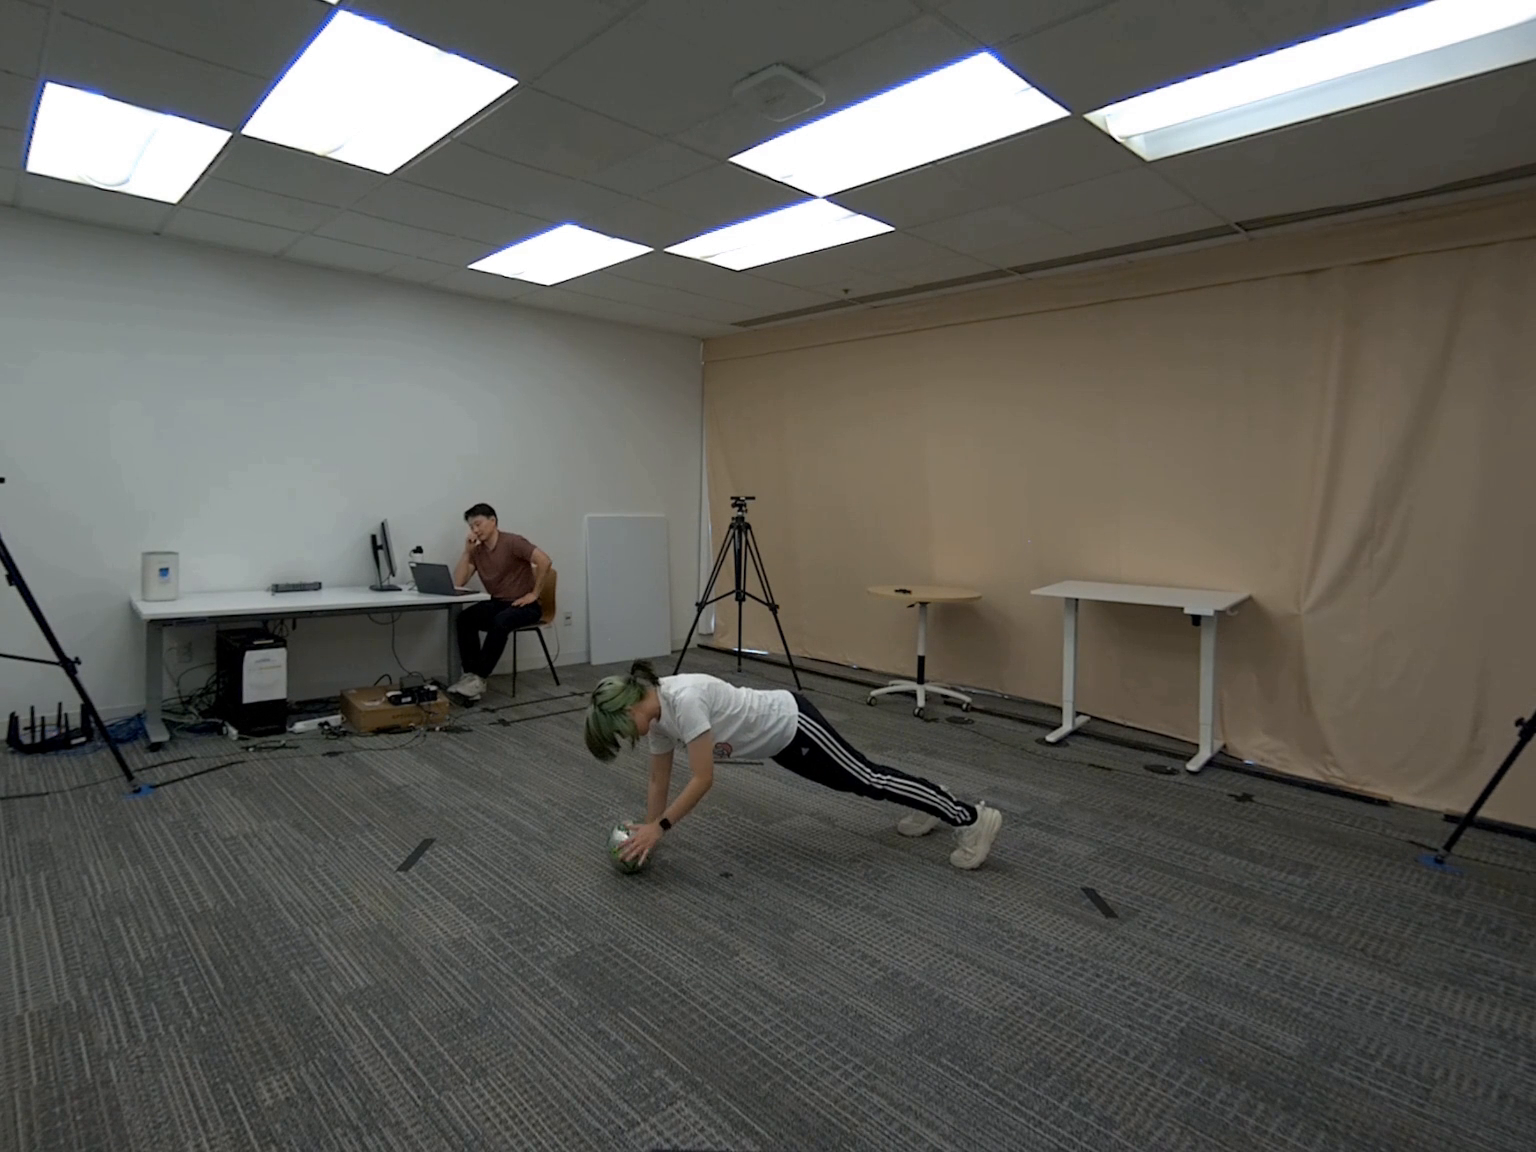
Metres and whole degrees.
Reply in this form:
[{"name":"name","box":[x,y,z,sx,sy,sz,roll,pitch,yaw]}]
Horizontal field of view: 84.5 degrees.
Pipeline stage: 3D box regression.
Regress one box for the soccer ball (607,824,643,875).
[{"name":"soccer ball","box":[-0.511,1.002,3.124,0.187,0.187,0.188,1,4,-1]}]
